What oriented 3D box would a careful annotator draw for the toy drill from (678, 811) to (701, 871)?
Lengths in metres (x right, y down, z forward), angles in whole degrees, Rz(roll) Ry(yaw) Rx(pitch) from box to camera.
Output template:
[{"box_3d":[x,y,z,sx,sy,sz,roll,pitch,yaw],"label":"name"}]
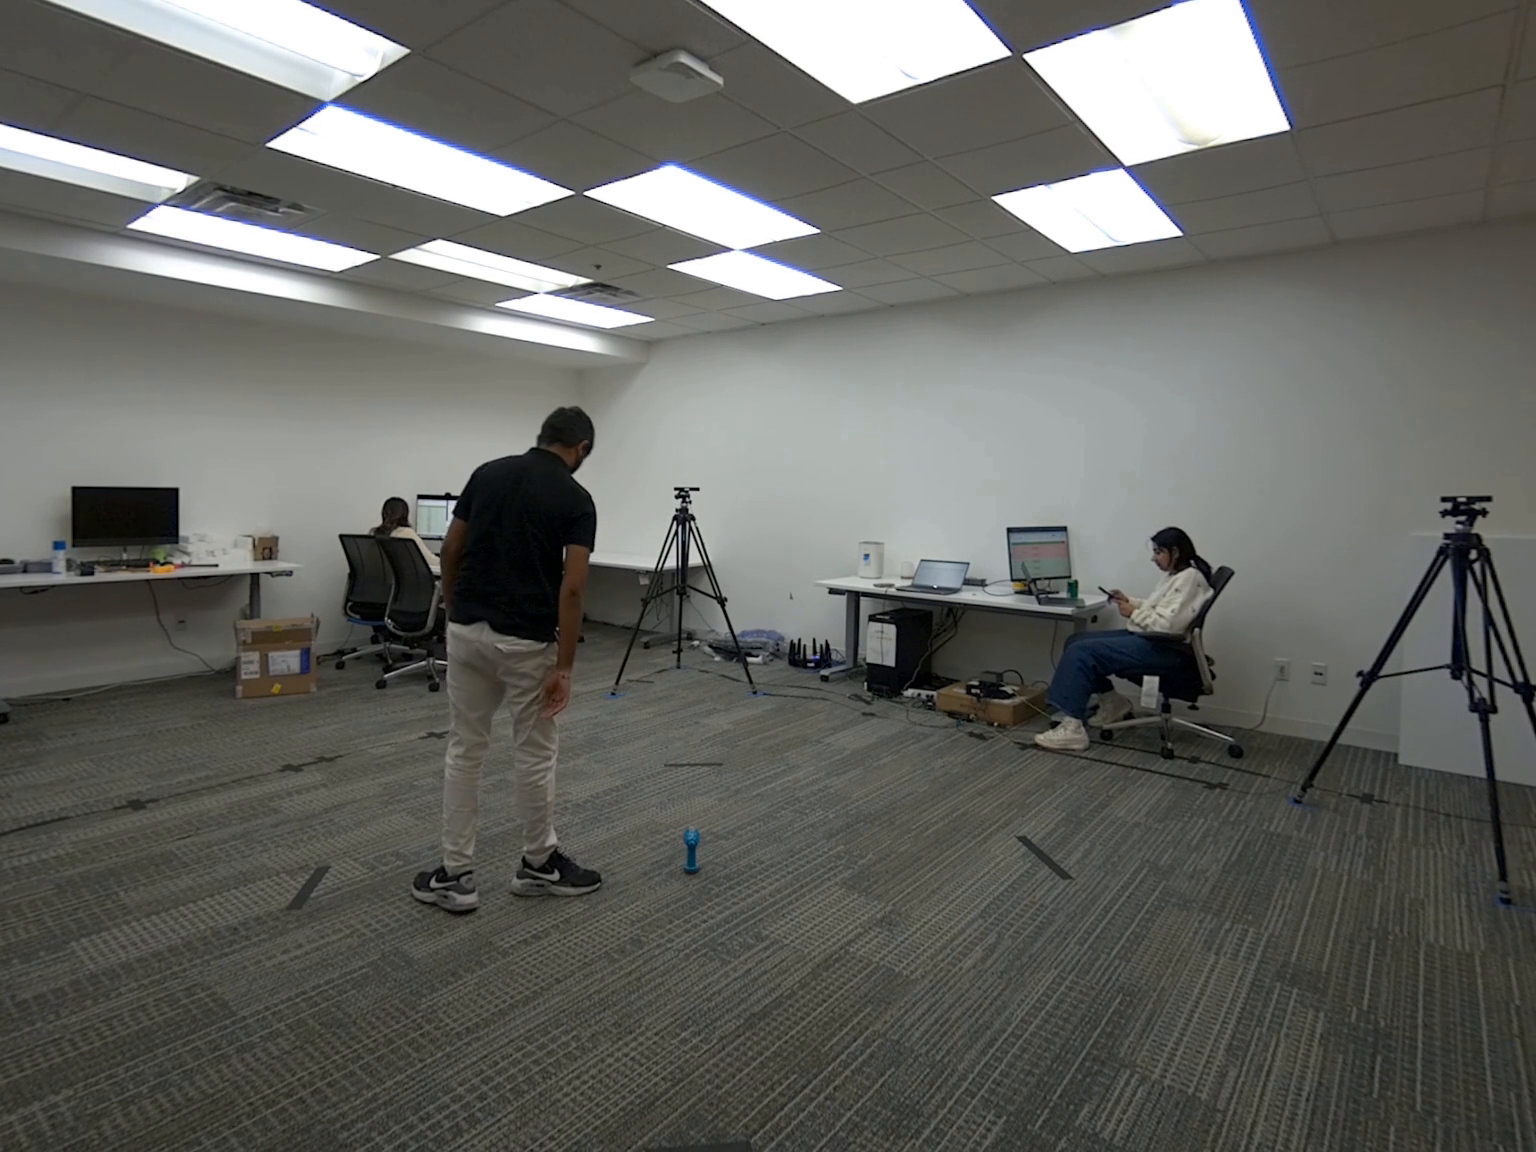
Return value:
[{"box_3d":[-0.293,0.979,3.120,0.060,0.145,0.172,-3,5,-10],"label":"toy drill"}]
